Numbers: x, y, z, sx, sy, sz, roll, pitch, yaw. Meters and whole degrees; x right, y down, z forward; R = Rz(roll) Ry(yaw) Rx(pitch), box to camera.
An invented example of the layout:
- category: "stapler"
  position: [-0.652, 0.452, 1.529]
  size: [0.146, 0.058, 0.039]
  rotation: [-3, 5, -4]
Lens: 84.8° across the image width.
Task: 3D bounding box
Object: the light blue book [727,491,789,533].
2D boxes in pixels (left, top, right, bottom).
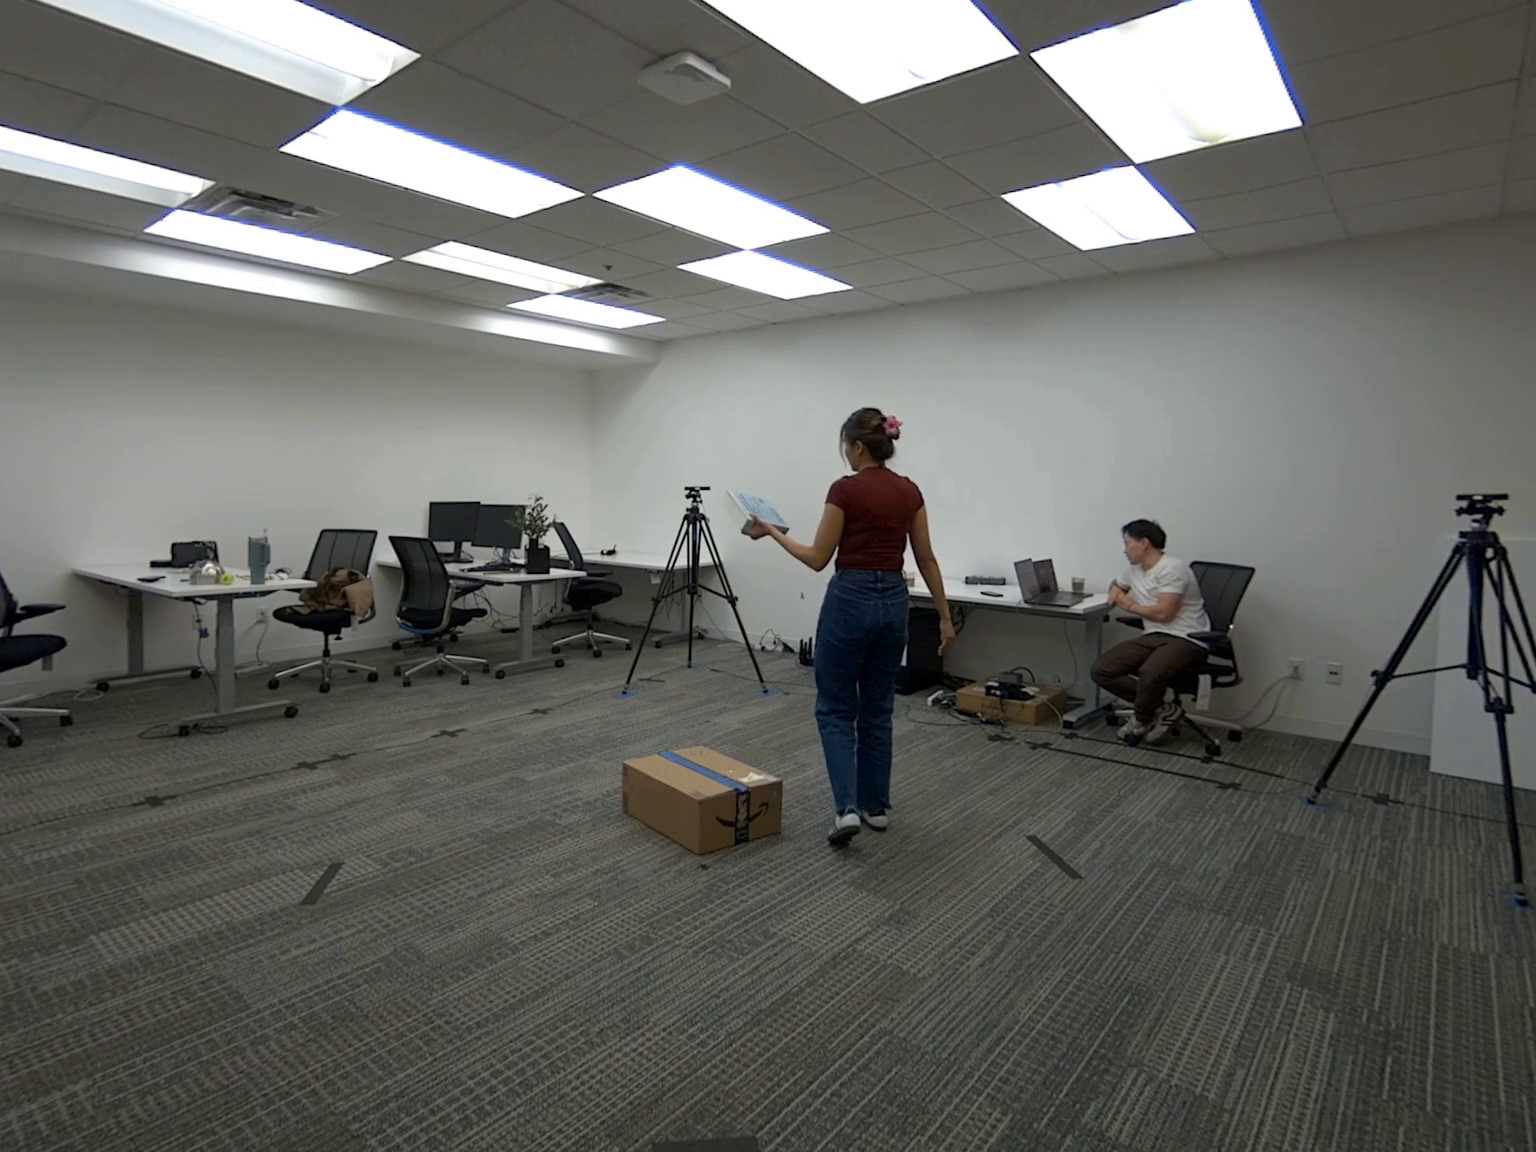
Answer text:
- category: "light blue book"
  position: [-0.066, -0.256, 3.554]
  size: [0.251, 0.059, 0.199]
  rotation: [12, 32, -47]
